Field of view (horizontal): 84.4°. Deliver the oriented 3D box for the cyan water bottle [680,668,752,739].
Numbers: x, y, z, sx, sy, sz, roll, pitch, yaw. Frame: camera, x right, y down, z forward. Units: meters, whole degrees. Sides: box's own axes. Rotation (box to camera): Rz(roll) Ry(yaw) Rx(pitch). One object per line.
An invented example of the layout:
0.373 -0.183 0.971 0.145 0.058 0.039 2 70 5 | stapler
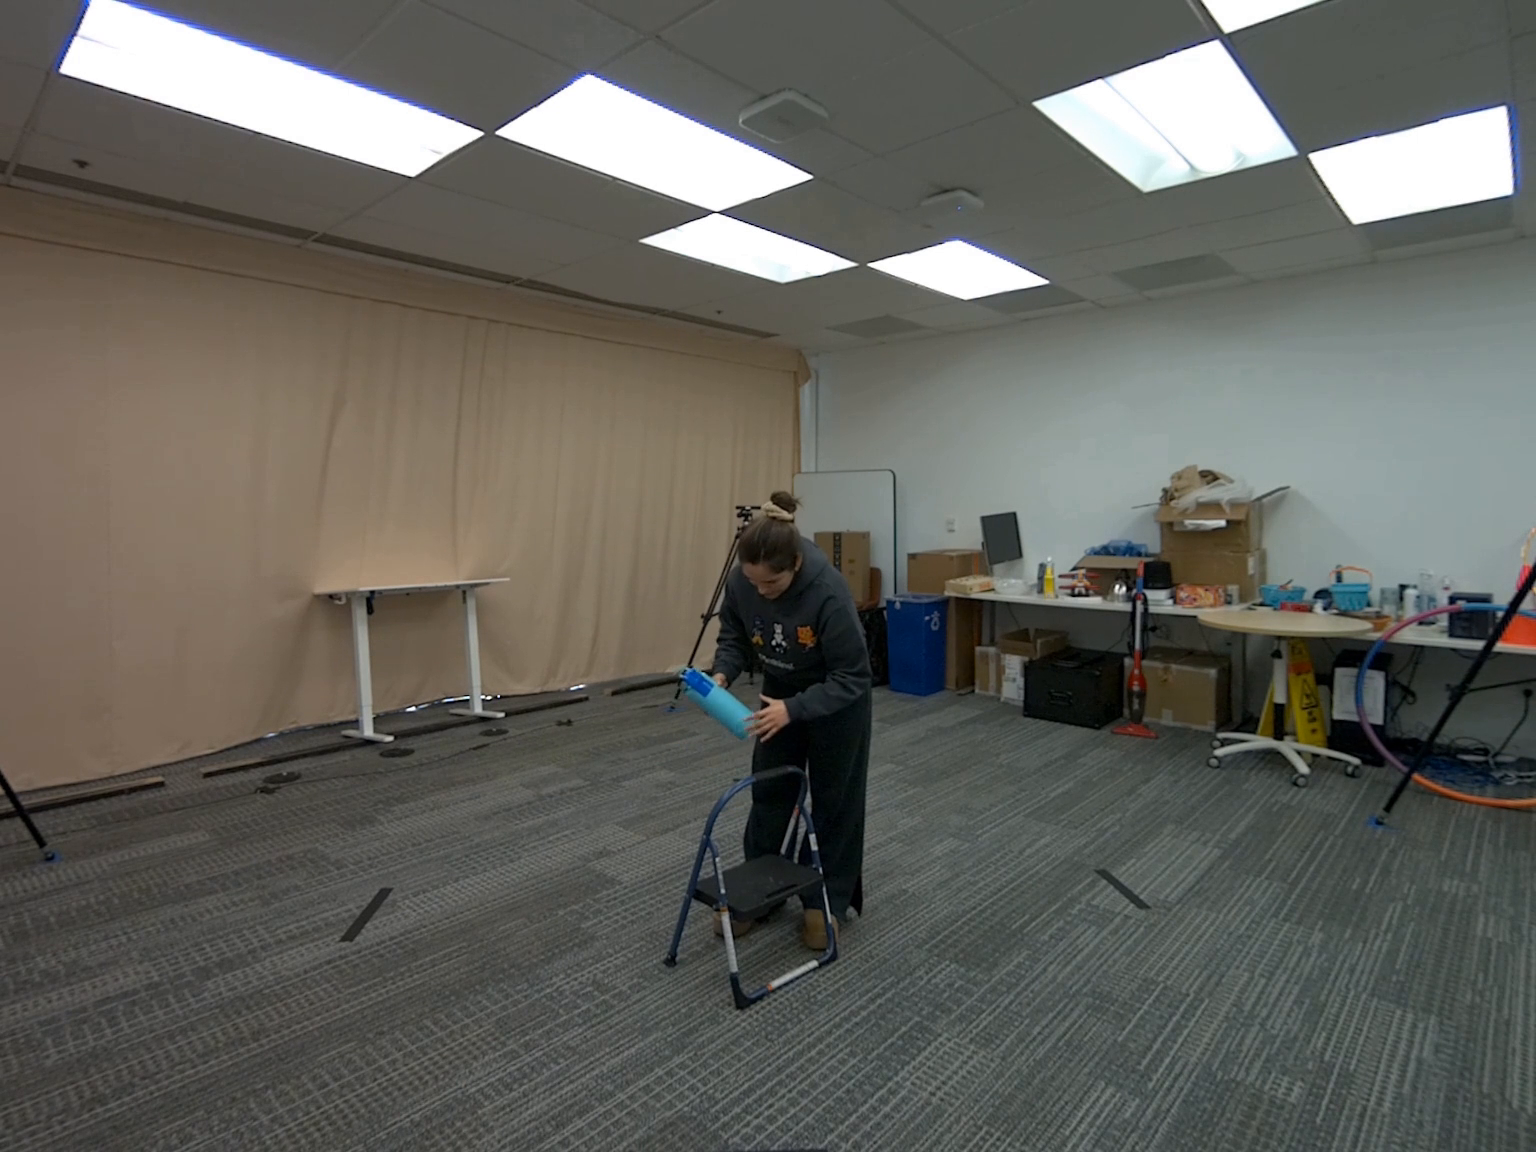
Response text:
-0.139 0.386 2.542 0.282 0.092 0.093 40 -1 -5 | cyan water bottle
